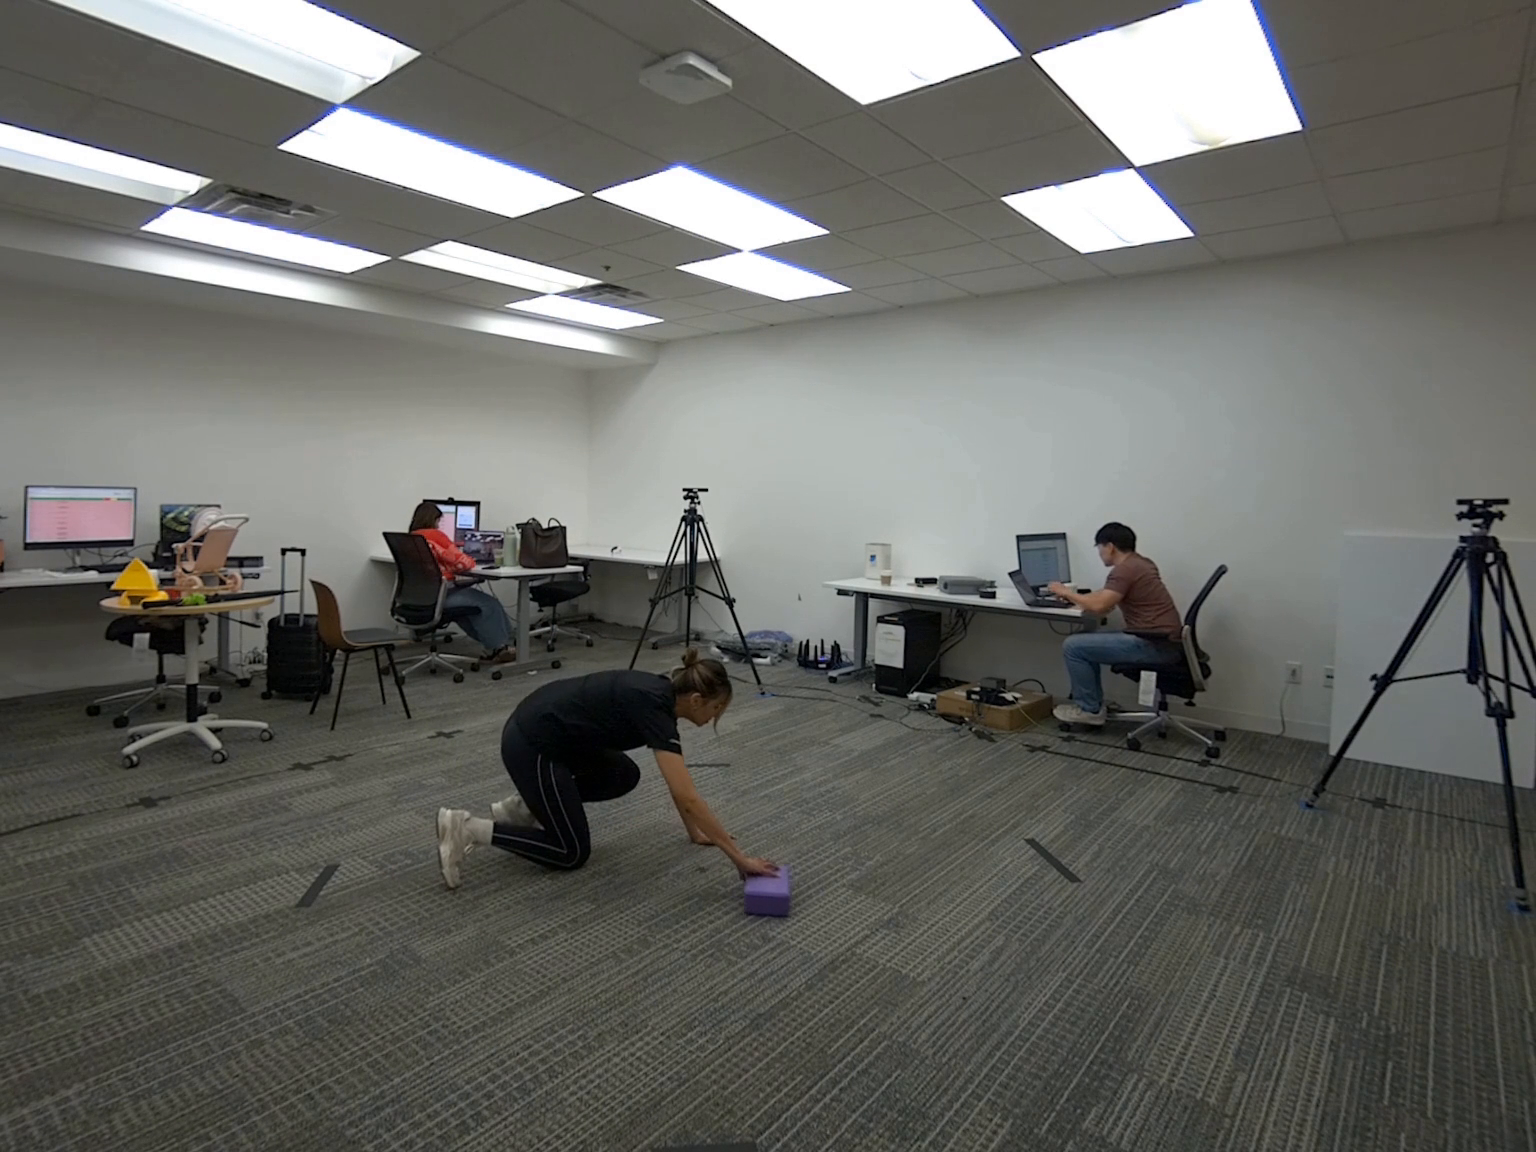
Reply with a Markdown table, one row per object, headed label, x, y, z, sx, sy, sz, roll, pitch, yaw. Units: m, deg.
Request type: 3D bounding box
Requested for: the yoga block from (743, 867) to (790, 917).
| label | x | y | z | sx | sy | sz | roll | pitch | yaw |
| --- | --- | --- | --- | --- | --- | --- | --- | --- | --- |
| yoga block | -0.024 | 1.054 | 2.888 | 0.150 | 0.076 | 0.229 | 1 | 4 | 3 |
